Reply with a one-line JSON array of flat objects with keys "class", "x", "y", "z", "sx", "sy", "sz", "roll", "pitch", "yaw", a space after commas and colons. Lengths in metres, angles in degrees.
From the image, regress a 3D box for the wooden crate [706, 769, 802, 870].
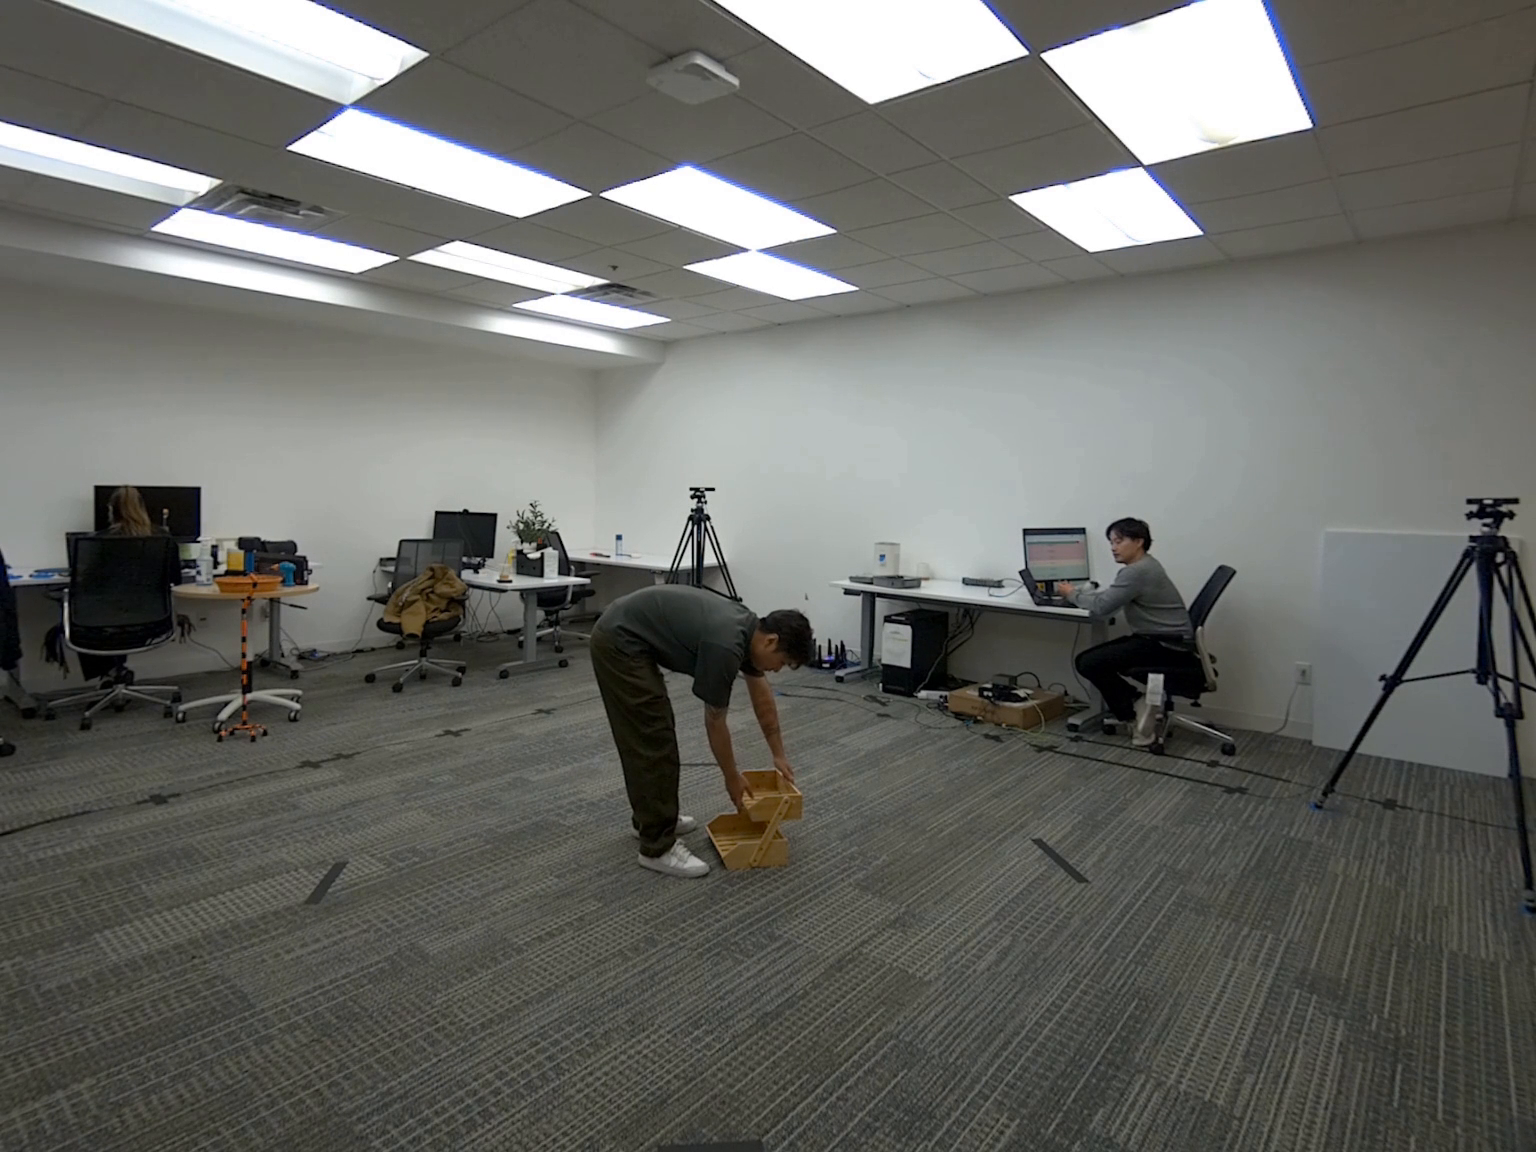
[{"class": "wooden crate", "x": -0.077, "y": 0.919, "z": 3.275, "sx": 0.297, "sy": 0.272, "sz": 0.330, "roll": 1, "pitch": 4, "yaw": -15}]
